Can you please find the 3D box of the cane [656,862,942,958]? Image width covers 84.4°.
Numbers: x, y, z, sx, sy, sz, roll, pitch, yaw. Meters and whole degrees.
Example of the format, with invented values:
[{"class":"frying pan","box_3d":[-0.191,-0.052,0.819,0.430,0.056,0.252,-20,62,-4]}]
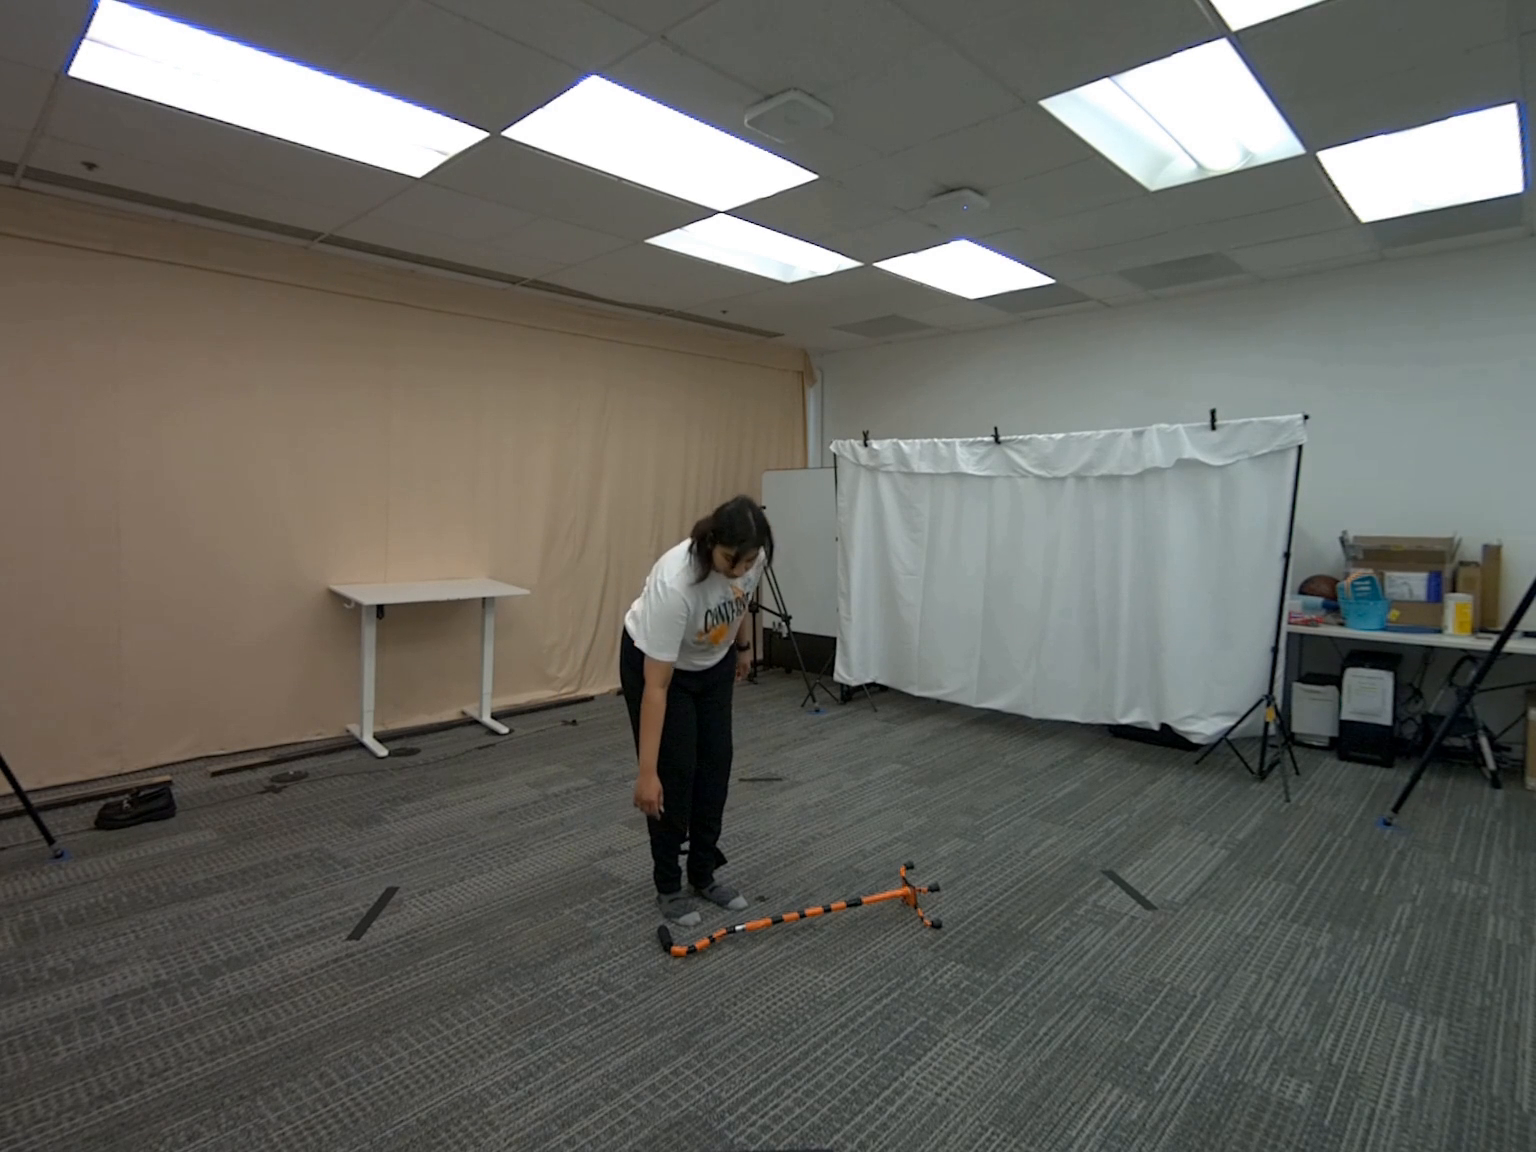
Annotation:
[{"class":"cane","box_3d":[0.116,1.115,2.747,0.895,0.151,0.210,-7,7,-15]}]
